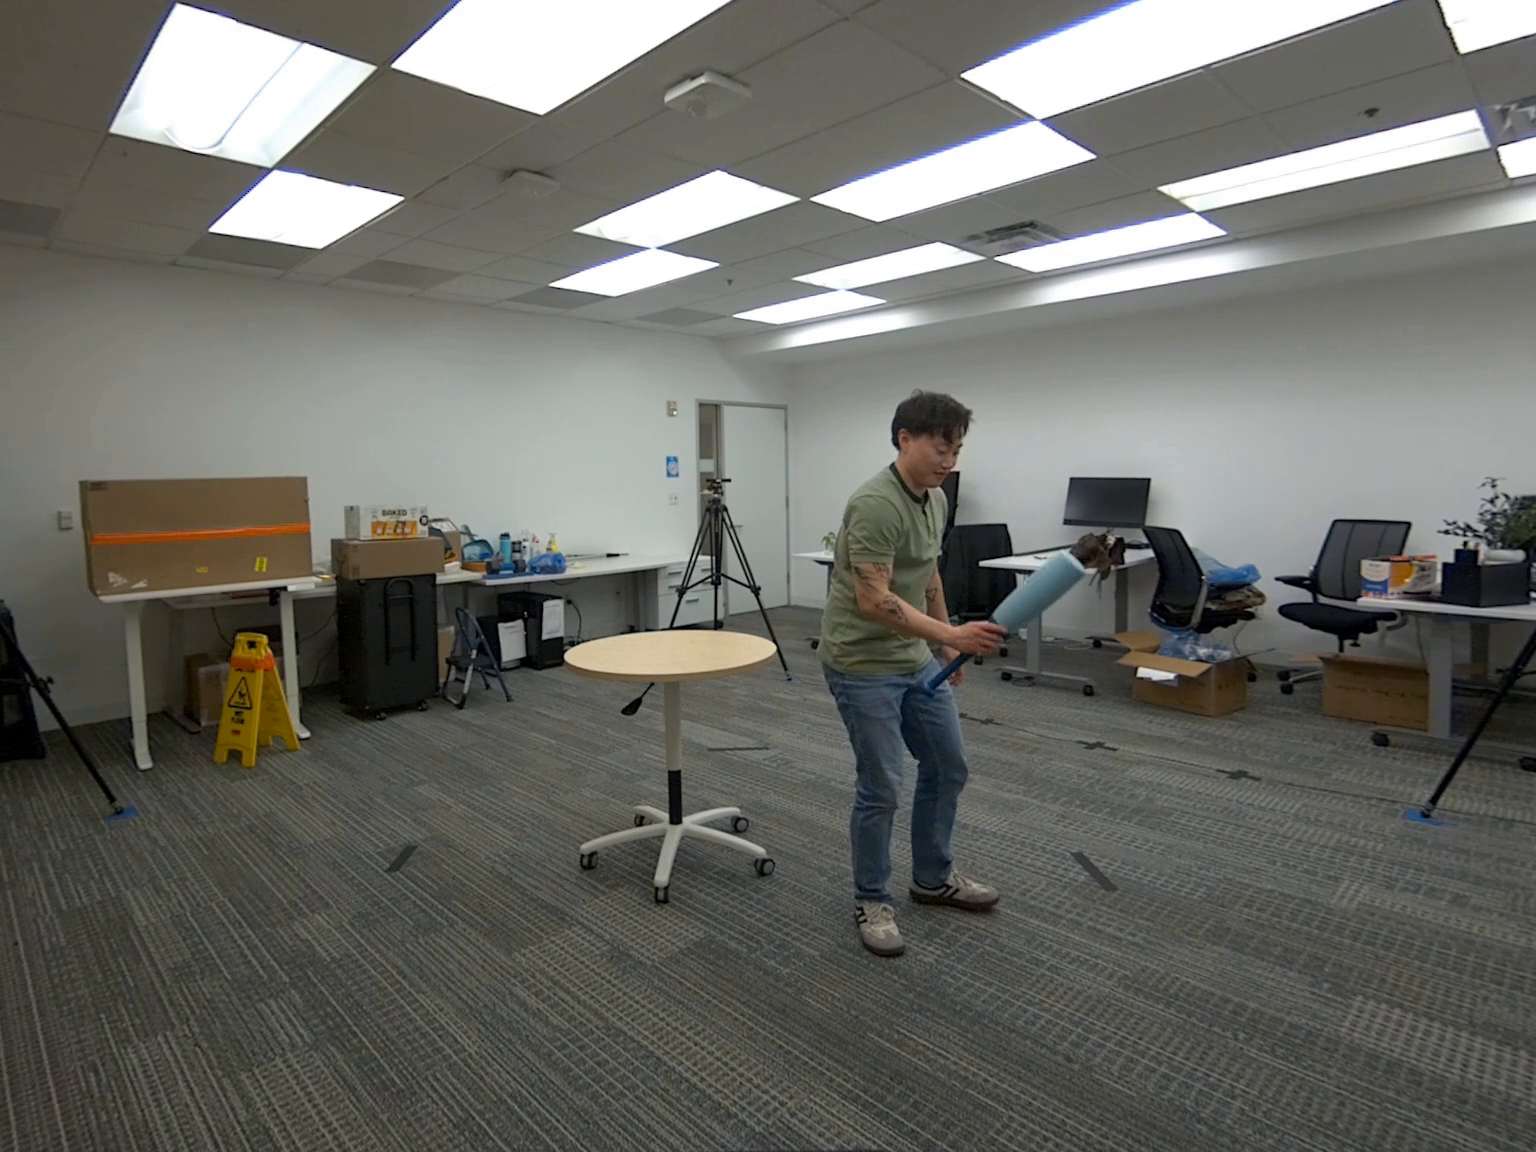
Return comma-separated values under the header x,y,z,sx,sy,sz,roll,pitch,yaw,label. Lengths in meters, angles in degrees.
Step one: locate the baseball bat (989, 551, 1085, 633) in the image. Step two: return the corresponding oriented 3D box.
x,y,z,sx,sy,sz,roll,pitch,yaw,label
0.606,0.153,2.257,0.087,0.542,0.091,33,25,-20,baseball bat
